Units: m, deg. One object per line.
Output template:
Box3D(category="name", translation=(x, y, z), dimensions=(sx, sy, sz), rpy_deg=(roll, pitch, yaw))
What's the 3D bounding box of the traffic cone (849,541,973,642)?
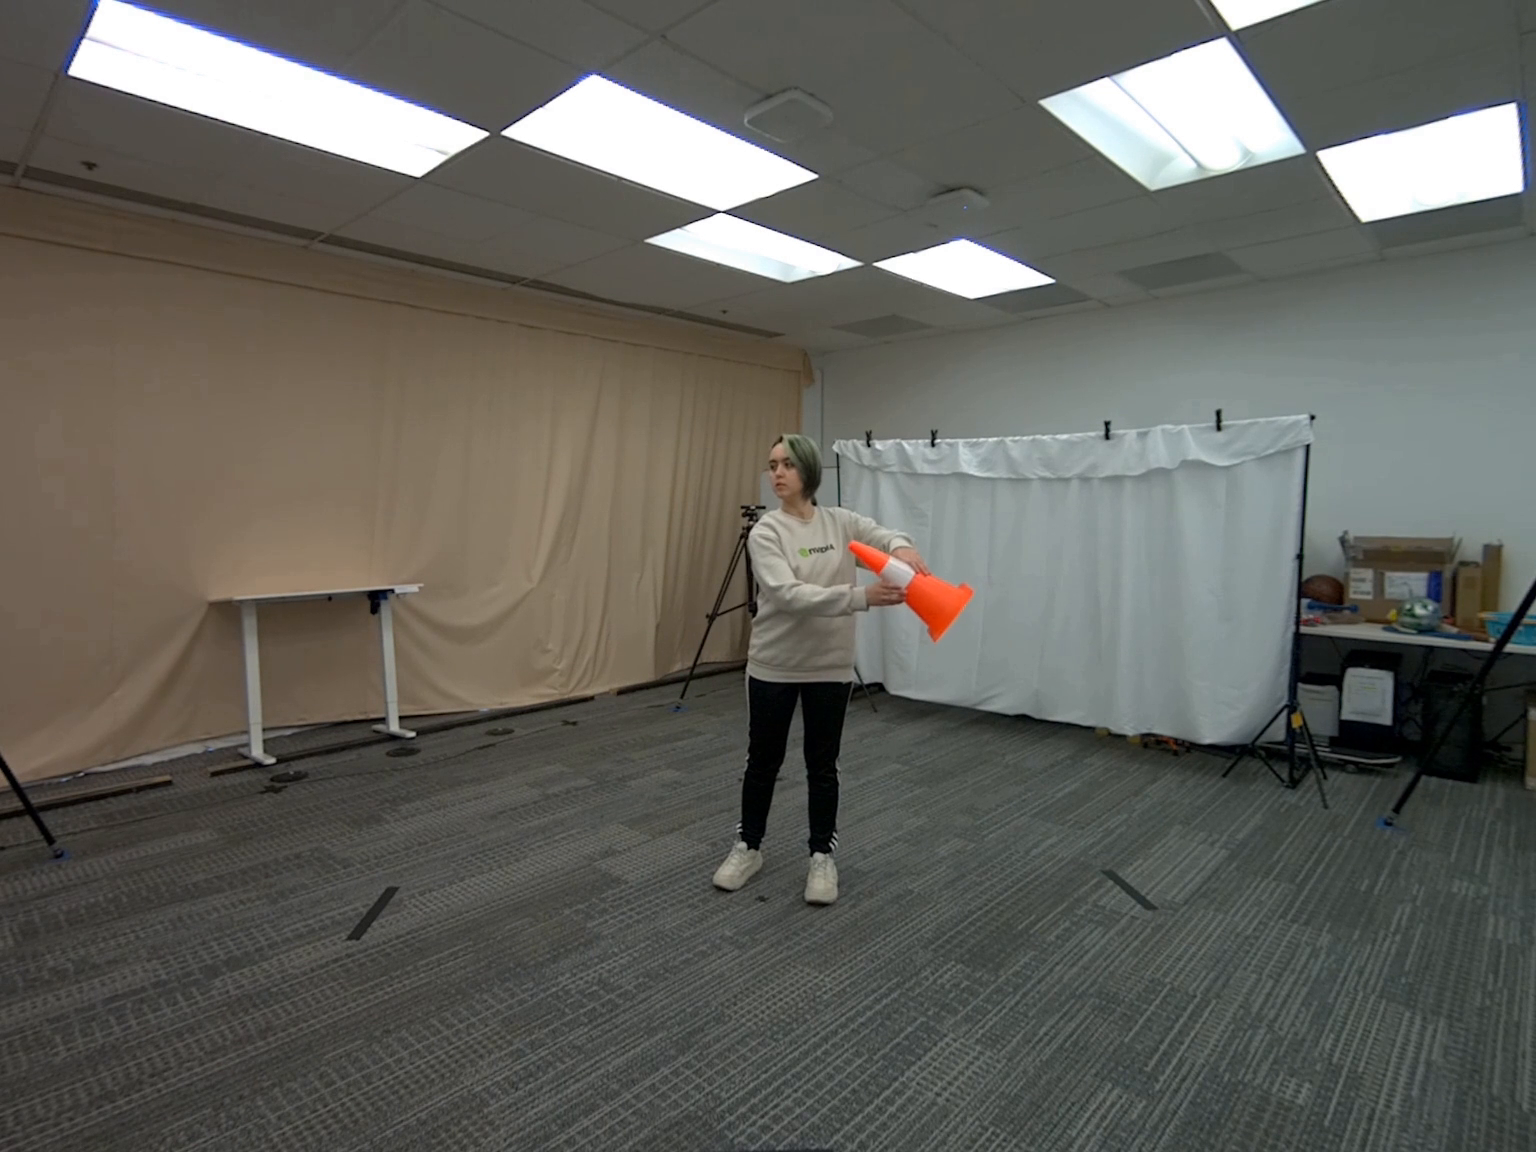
Box3D(category="traffic cone", translation=(0.418, 0.022, 2.647), dimensions=(0.385, 0.205, 0.203), rpy_deg=(35, 14, 1))
